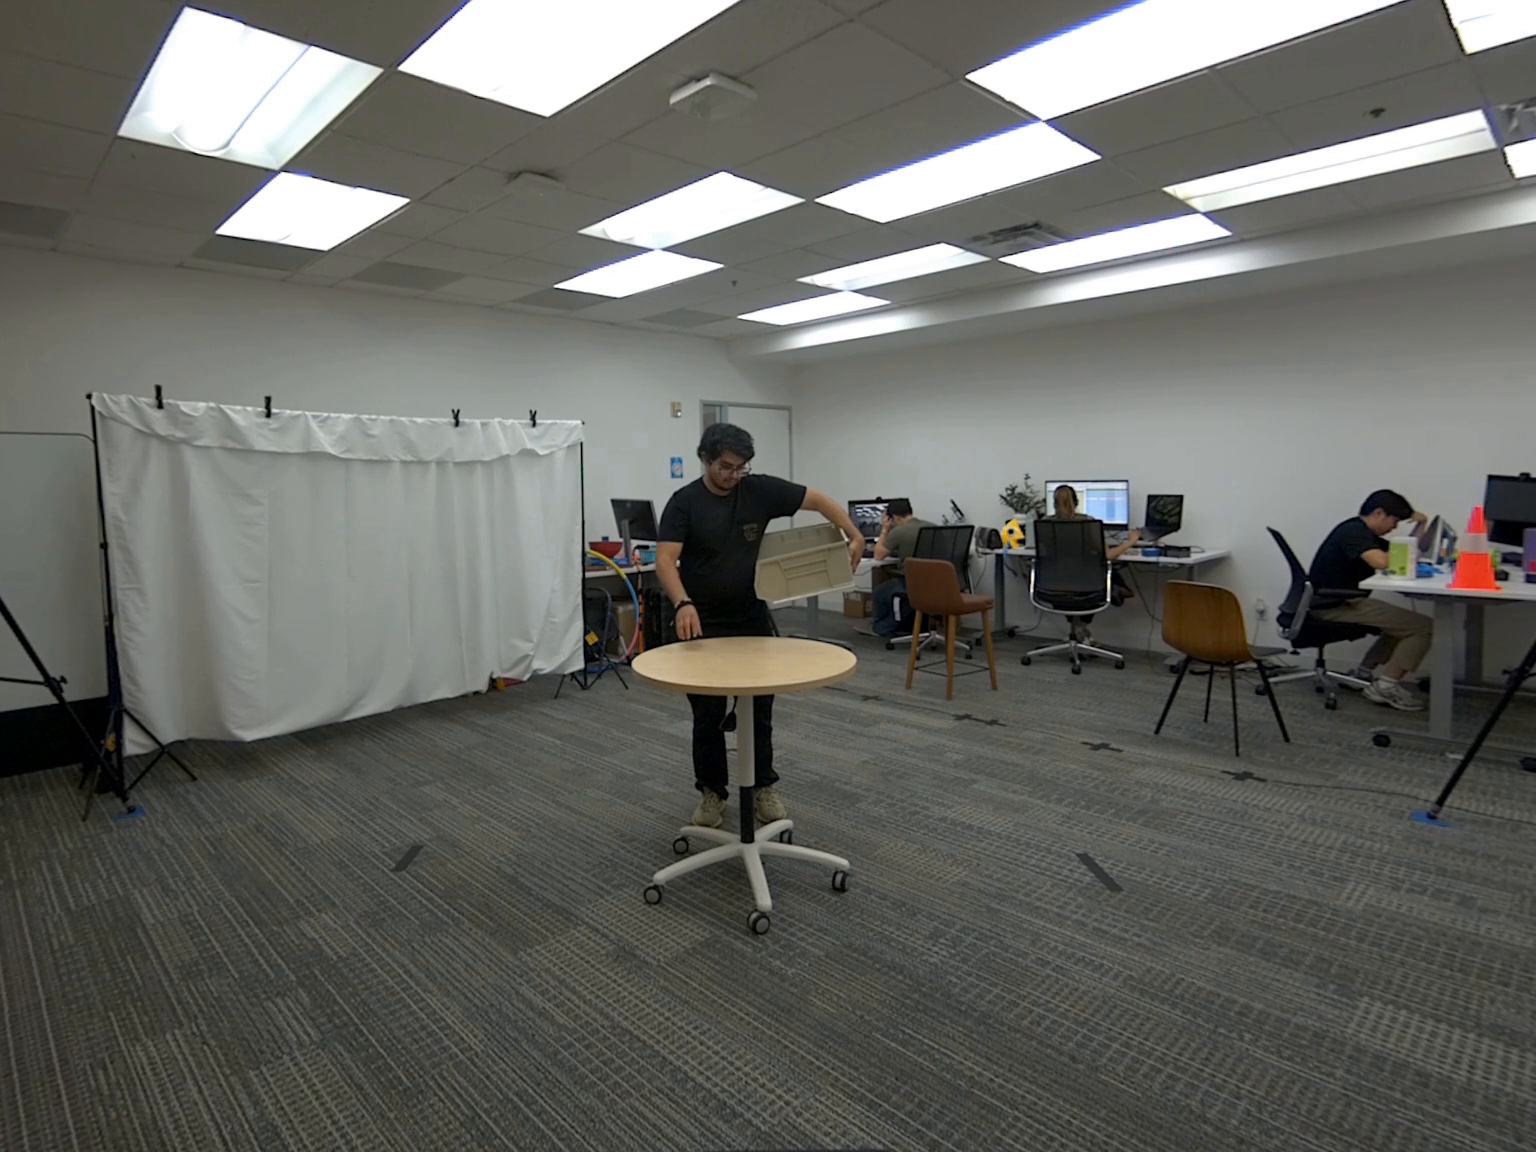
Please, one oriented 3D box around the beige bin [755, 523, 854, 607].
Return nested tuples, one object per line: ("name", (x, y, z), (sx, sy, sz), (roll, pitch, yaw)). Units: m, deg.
("beige bin", (0.130, -0.057, 3.378), (0.378, 0.186, 0.427), (-10, 14, 2))
